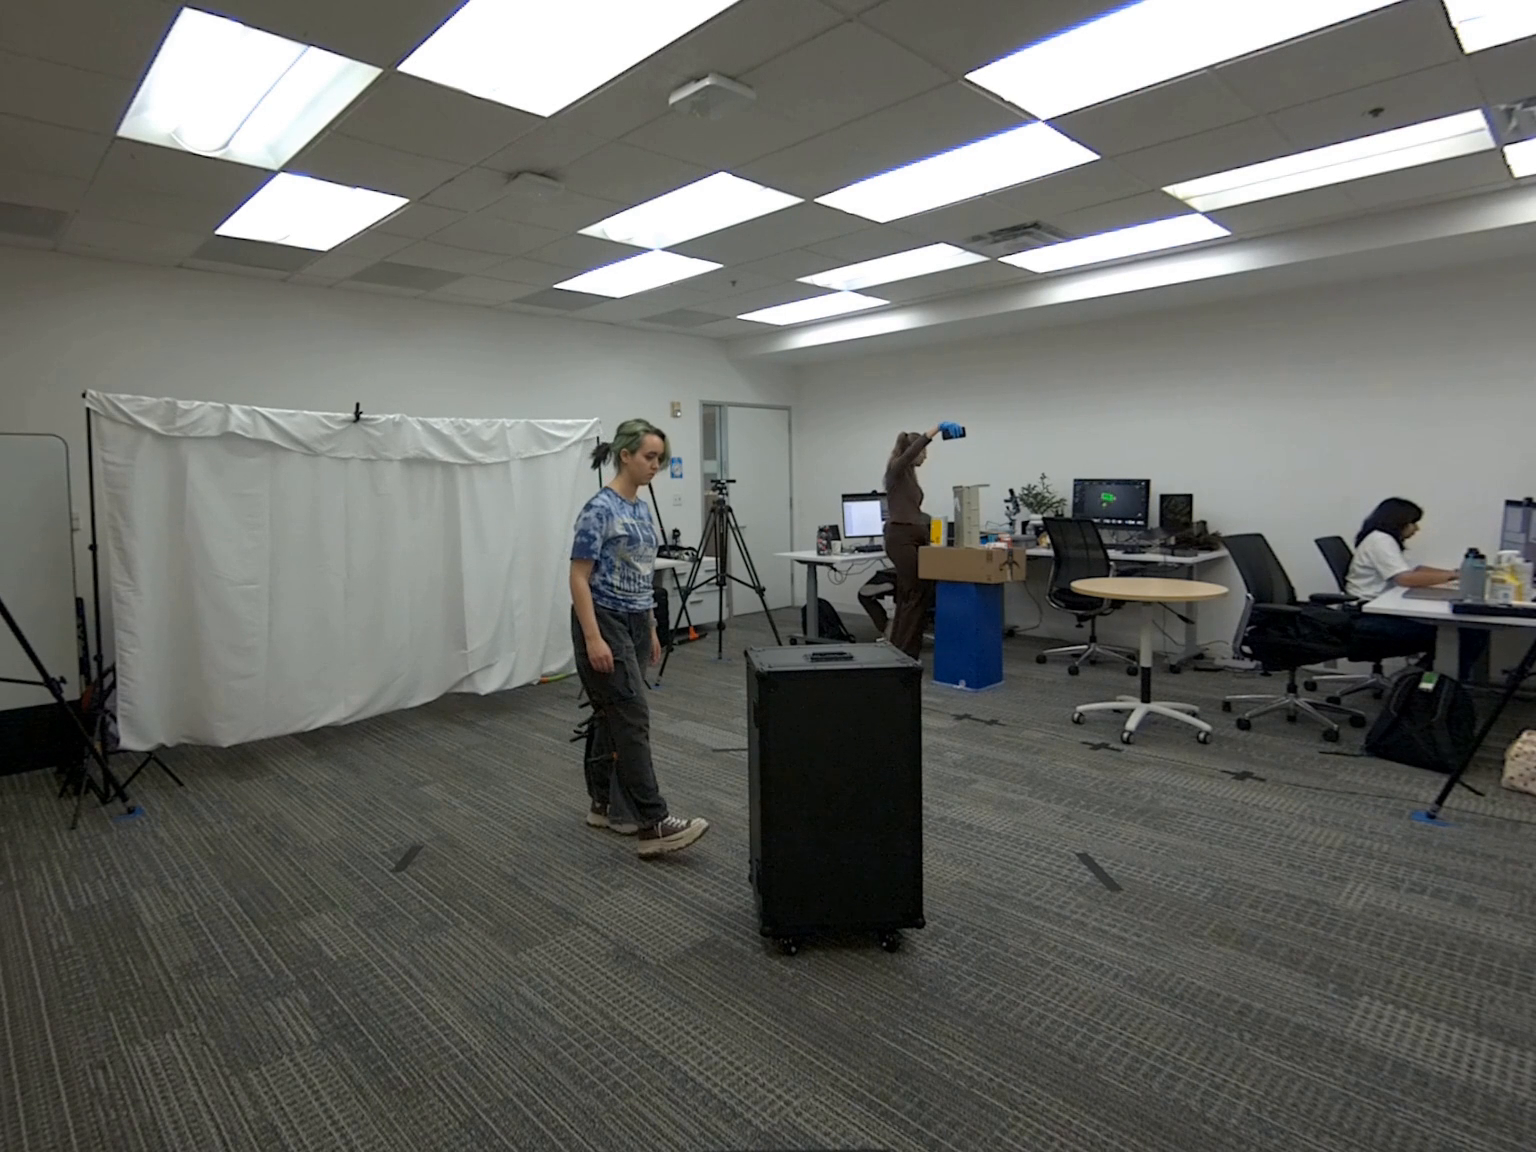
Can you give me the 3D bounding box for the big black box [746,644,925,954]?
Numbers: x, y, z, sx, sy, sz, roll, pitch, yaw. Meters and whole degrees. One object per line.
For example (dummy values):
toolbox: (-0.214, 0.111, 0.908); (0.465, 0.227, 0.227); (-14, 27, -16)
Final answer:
big black box: (0.192, 0.669, 2.654); (0.519, 0.859, 0.399); (-2, 3, -4)
